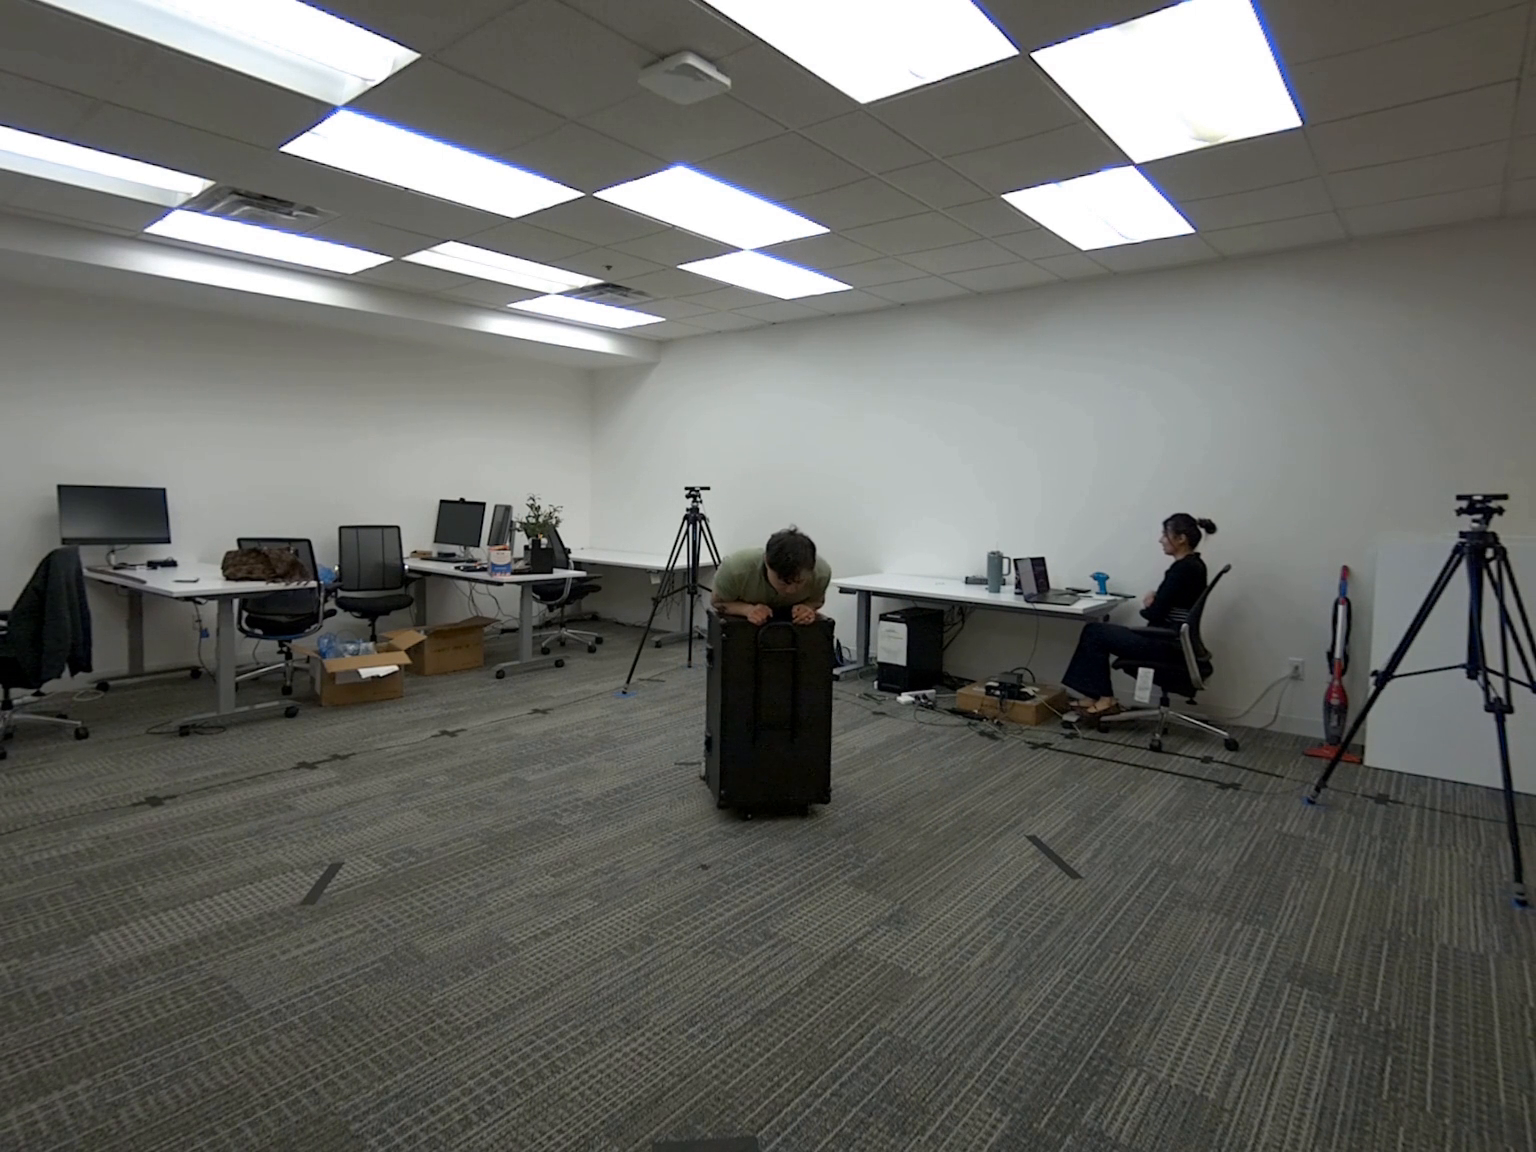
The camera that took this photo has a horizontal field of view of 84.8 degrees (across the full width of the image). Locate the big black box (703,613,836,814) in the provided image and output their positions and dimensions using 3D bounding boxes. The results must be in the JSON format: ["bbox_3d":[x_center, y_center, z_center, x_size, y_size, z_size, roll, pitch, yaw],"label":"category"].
[{"bbox_3d":[0.000,0.590,3.678,0.515,0.858,0.403,0,5,-11],"label":"big black box"}]
